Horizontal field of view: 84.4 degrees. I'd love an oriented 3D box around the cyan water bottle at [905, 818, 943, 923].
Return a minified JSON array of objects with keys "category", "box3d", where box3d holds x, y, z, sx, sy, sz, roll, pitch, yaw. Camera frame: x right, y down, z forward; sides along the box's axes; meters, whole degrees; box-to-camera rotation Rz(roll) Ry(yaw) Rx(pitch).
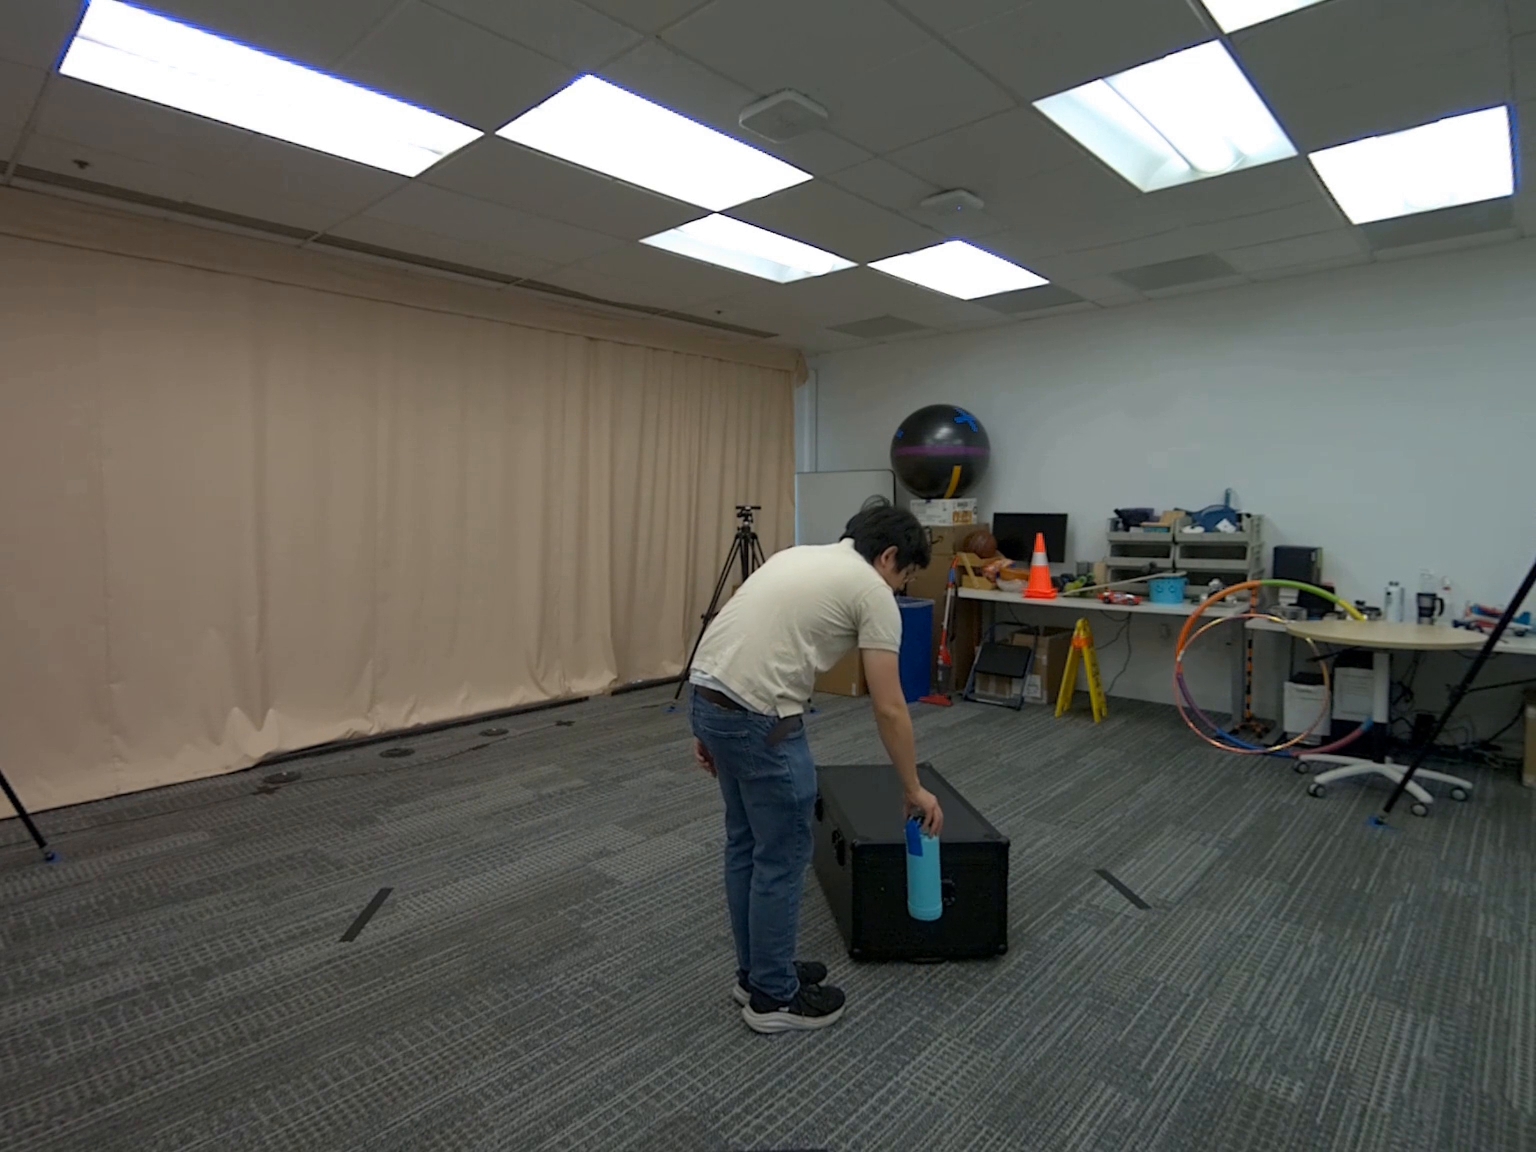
[{"category":"cyan water bottle","box3d":[0.432,0.792,2.288,0.092,0.283,0.092,-2,0,-2]}]
